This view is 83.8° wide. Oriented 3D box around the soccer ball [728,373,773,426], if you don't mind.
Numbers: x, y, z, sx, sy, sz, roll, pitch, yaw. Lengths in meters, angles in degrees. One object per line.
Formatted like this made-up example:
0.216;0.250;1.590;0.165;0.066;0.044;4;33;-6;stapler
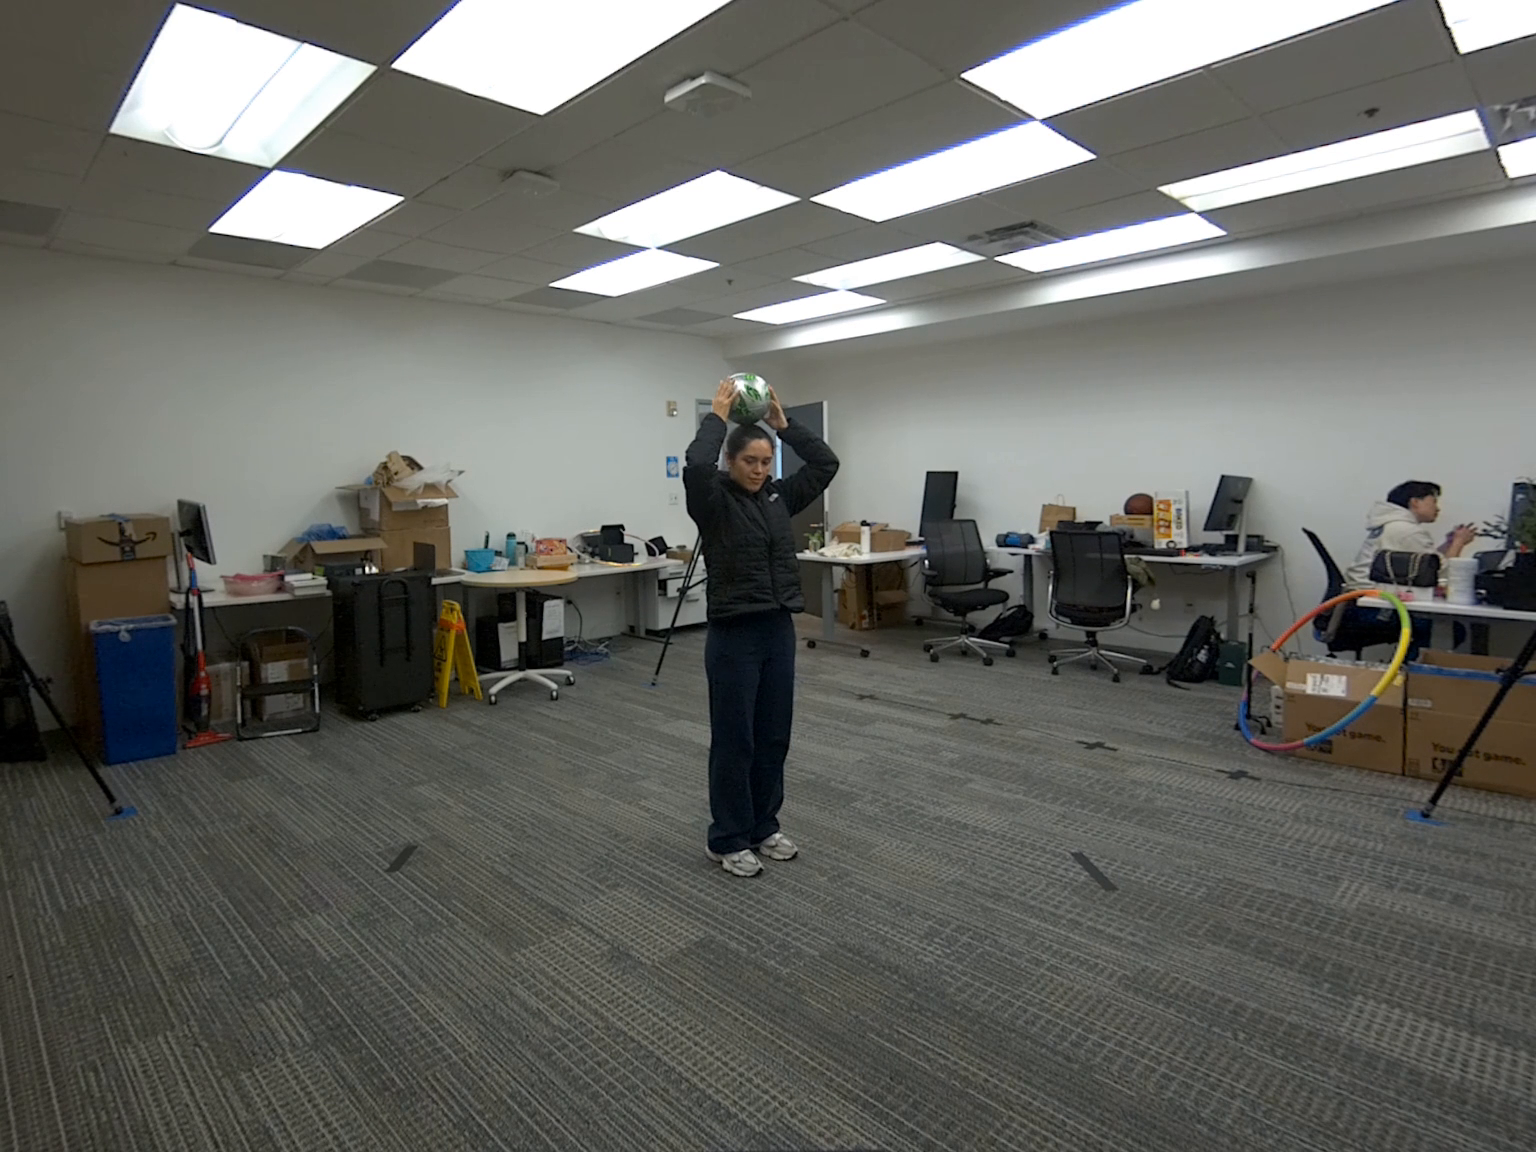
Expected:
-0.082;-0.639;3.081;0.187;0.187;0.188;-1;5;-2;soccer ball
